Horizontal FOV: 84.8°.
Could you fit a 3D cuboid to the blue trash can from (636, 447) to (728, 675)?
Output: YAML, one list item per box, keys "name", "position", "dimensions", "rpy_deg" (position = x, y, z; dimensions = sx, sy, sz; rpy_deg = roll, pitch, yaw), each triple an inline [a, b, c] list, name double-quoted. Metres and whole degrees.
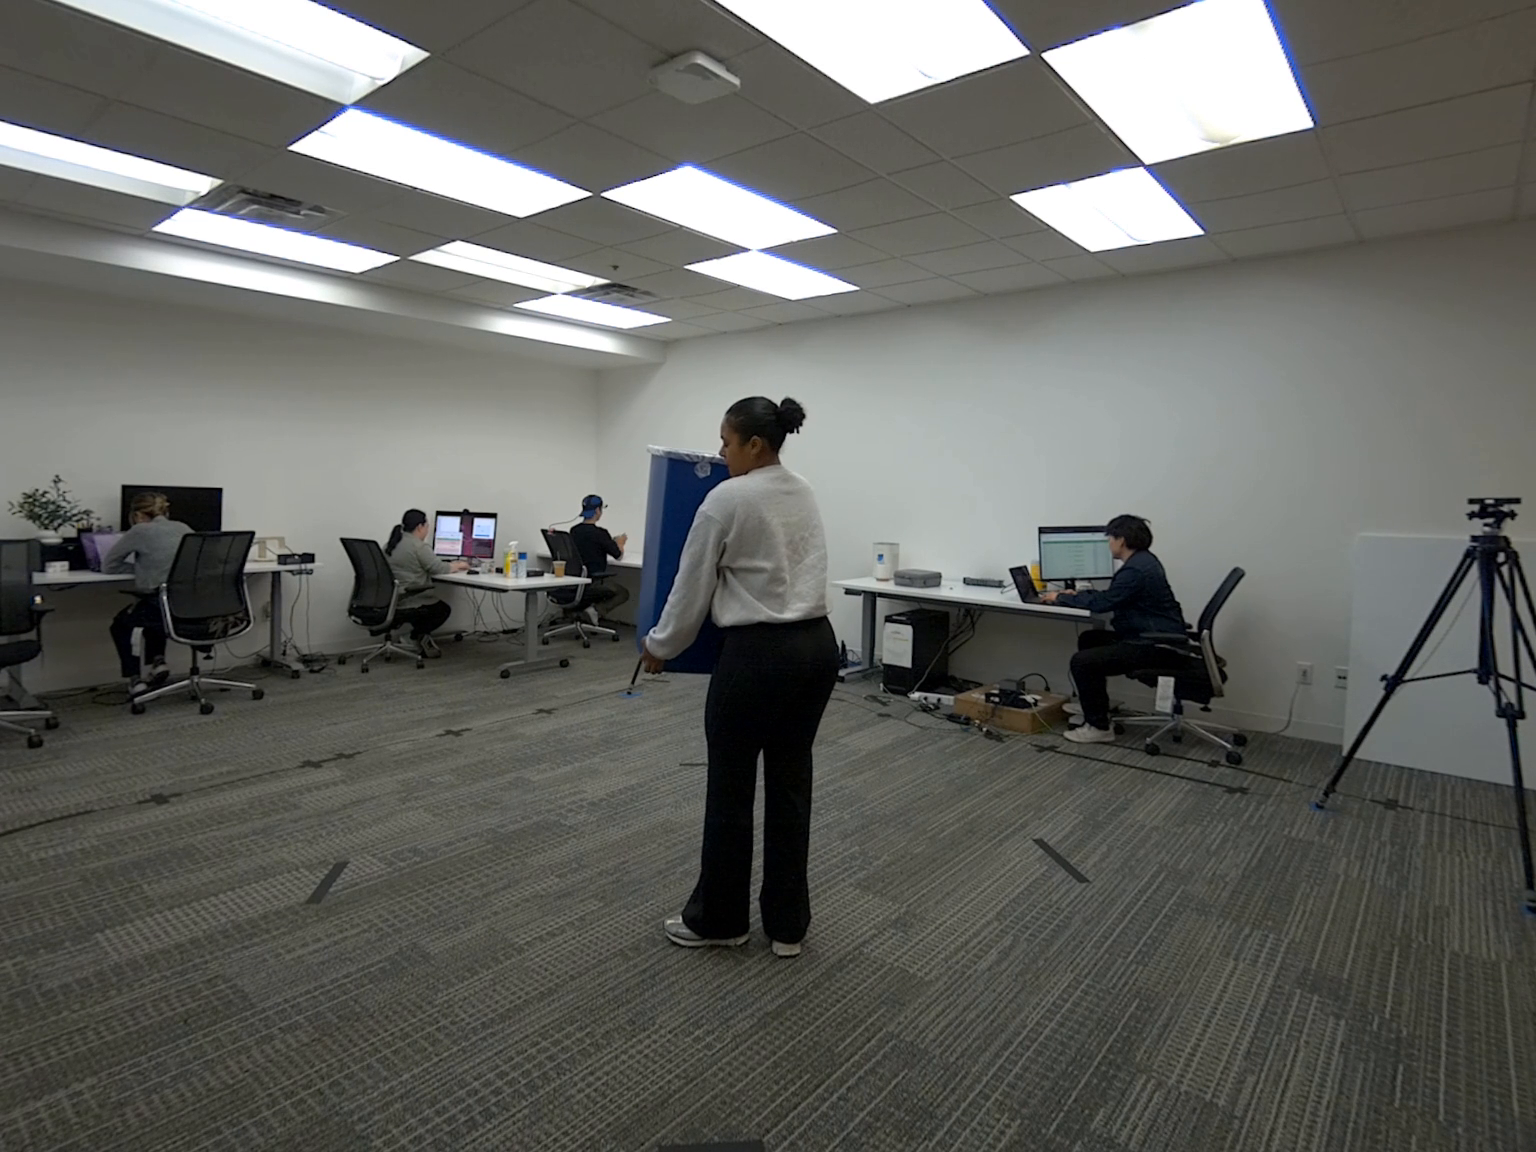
- name: "blue trash can"
  position: [-0.245, -0.064, 2.881]
  dimensions: [0.367, 0.709, 0.388]
  rpy_deg: [4, 7, -18]
